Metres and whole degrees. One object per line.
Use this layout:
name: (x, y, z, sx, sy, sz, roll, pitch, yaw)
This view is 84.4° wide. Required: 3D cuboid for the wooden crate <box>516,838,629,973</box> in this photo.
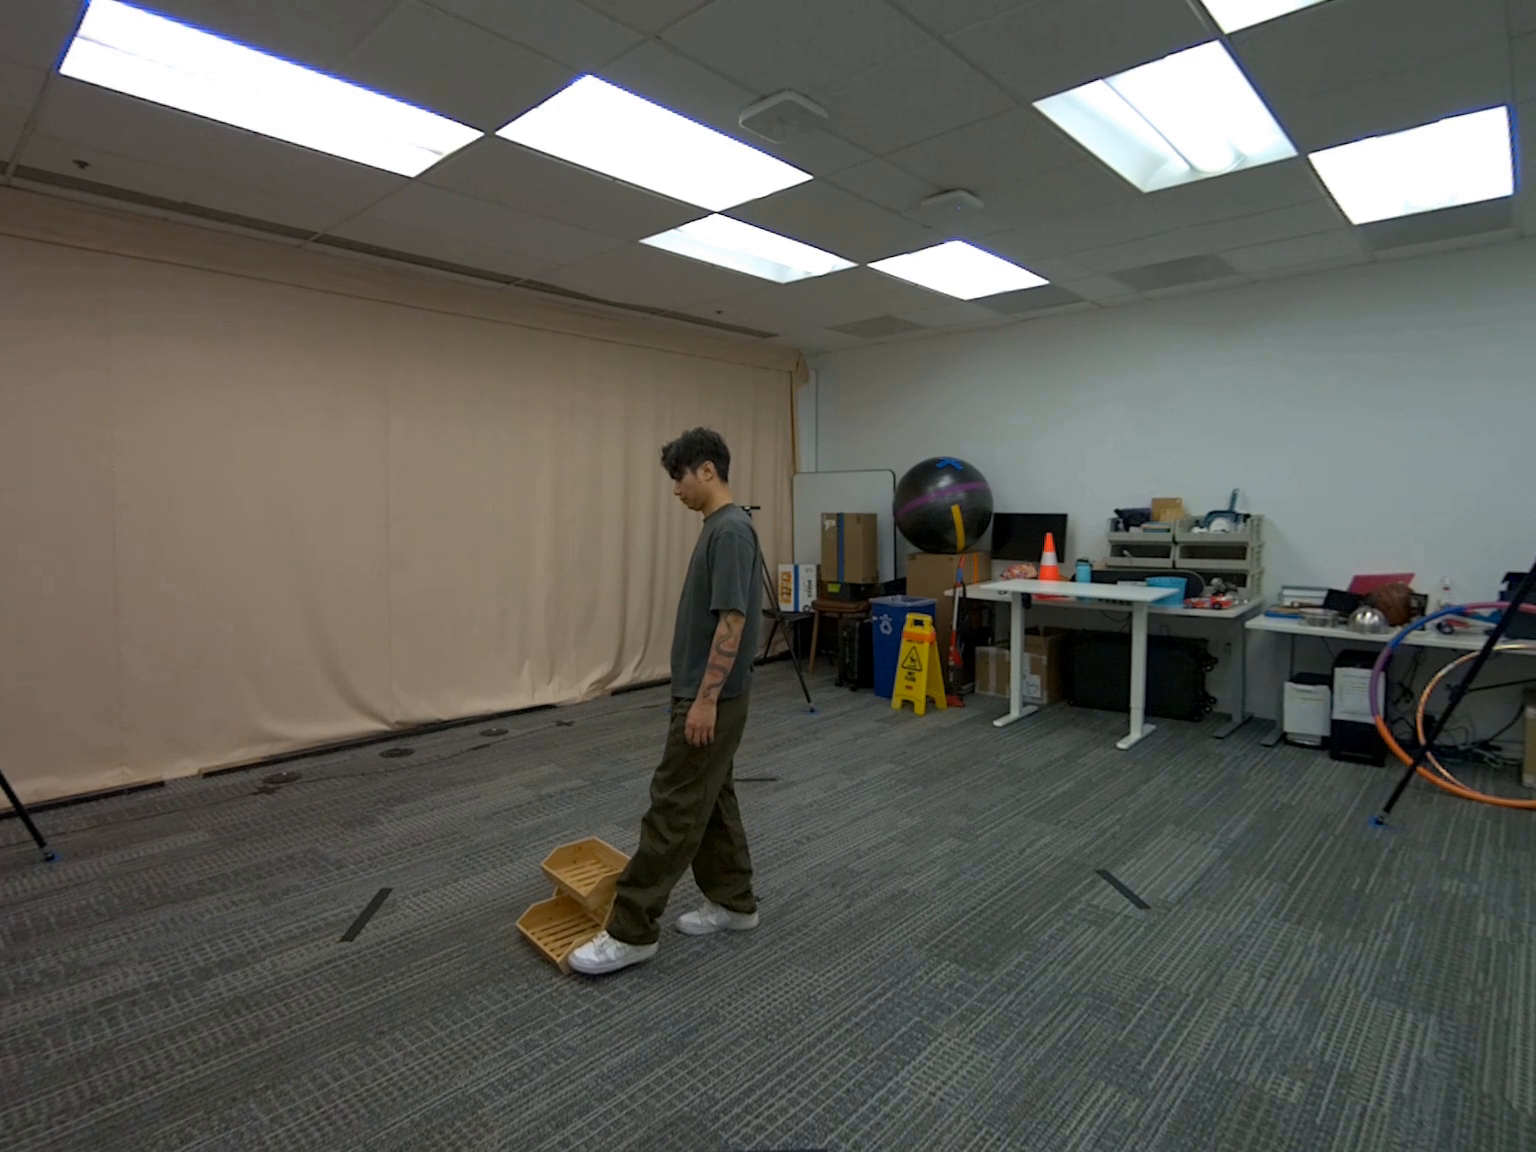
wooden crate: (-0.605, 1.041, 2.689, 0.293, 0.273, 0.335, -2, 4, -41)
